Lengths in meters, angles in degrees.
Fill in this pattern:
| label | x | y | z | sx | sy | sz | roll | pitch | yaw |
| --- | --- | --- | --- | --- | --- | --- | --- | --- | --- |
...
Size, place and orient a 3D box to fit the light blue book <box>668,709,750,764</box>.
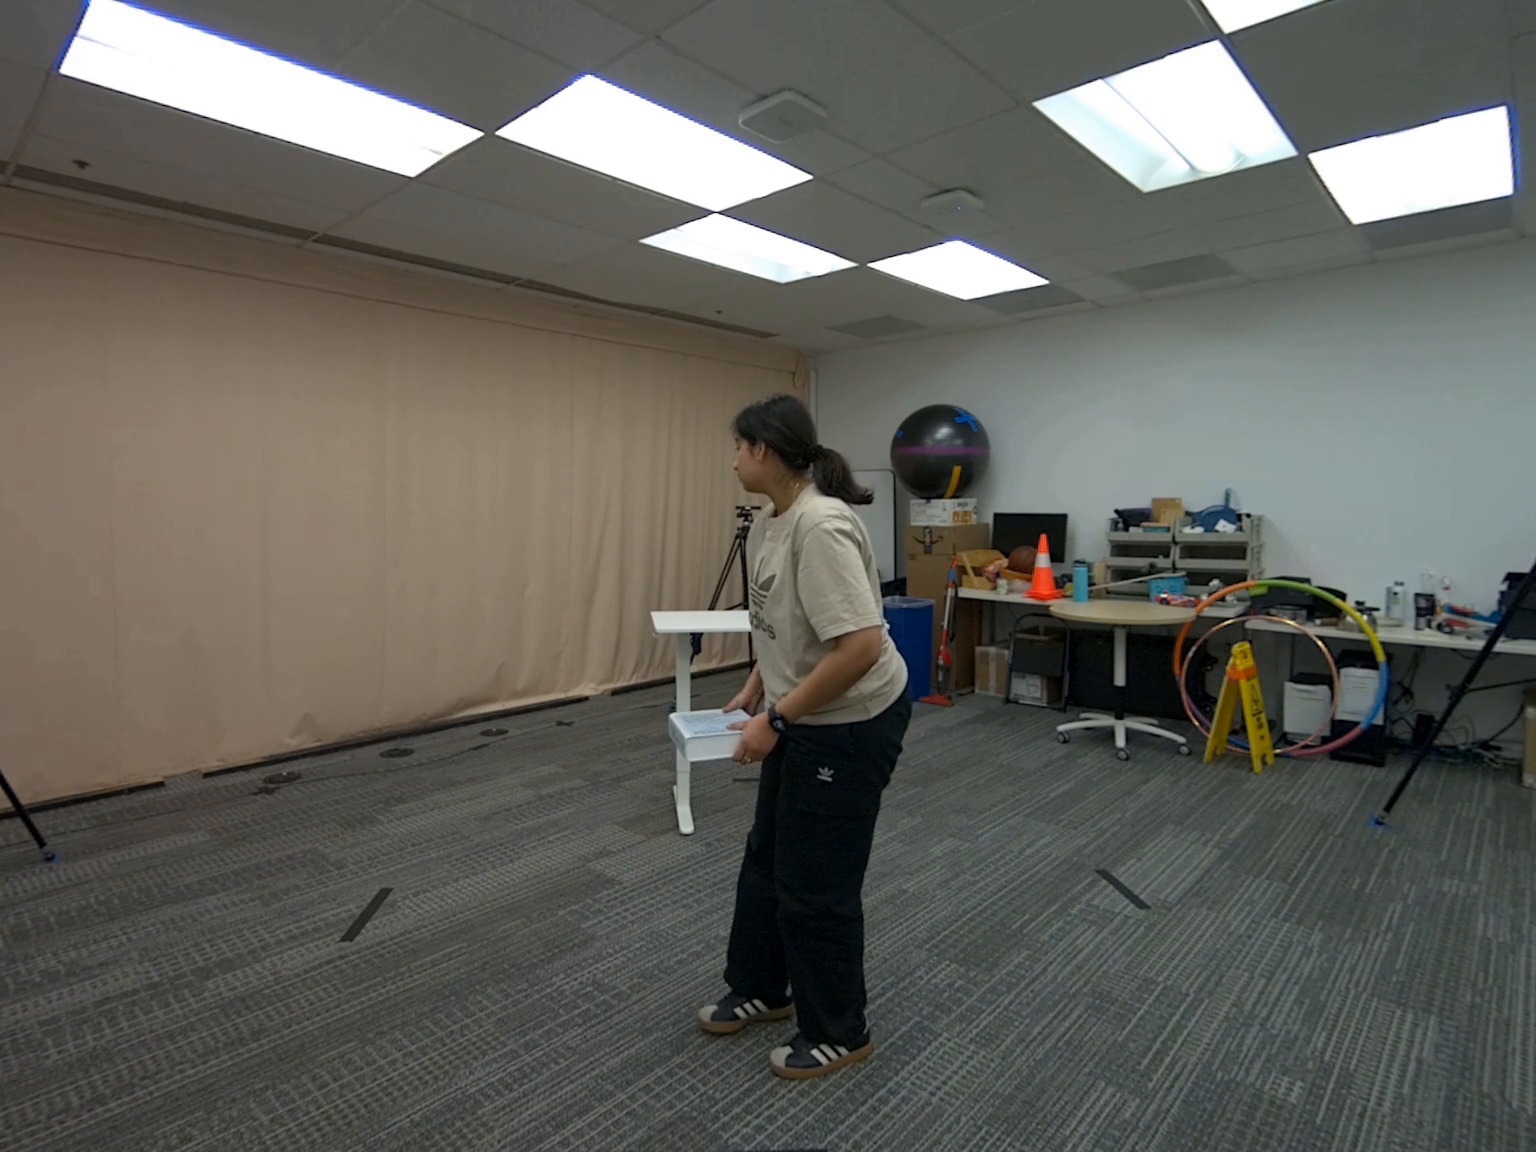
| label | x | y | z | sx | sy | sz | roll | pitch | yaw |
| --- | --- | --- | --- | --- | --- | --- | --- | --- | --- |
| light blue book | -0.125 | 0.384 | 2.034 | 0.189 | 0.059 | 0.264 | -2 | 2 | -12 |
